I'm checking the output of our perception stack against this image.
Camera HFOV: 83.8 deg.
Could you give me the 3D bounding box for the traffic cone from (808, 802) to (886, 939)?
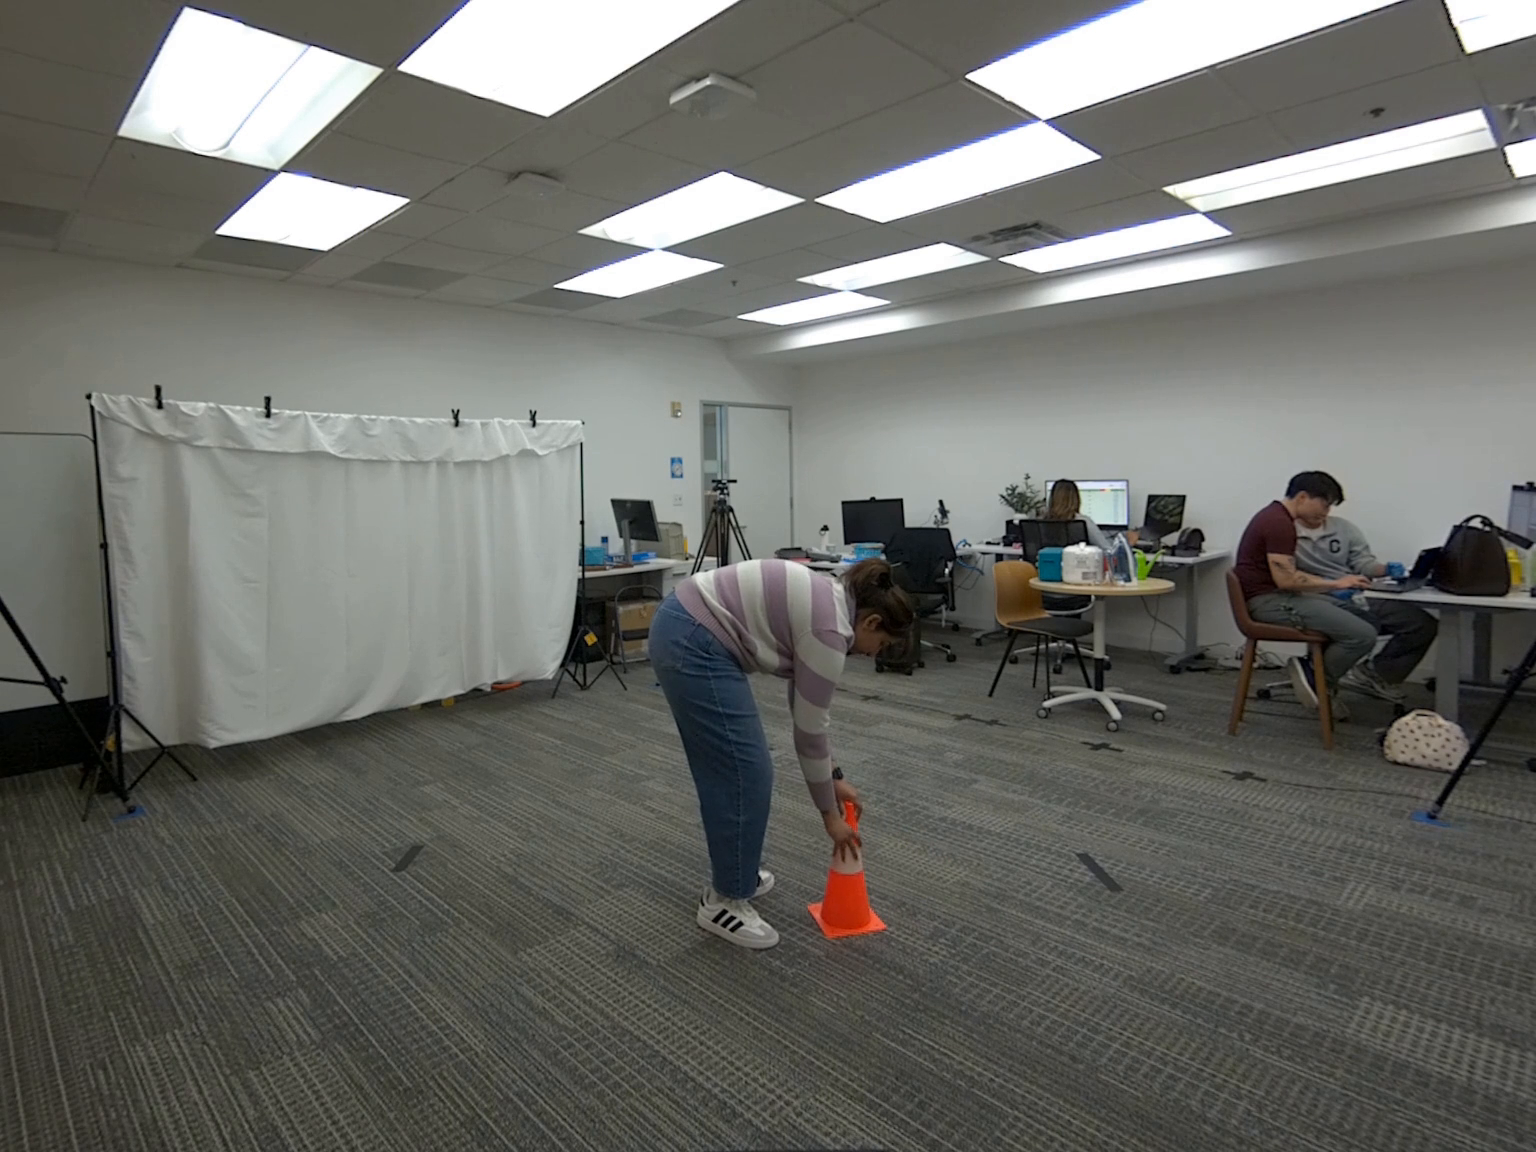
[{"bbox_3d":[0.239,0.895,2.696,0.201,0.381,0.209,0,7,-14],"label":"traffic cone"}]
